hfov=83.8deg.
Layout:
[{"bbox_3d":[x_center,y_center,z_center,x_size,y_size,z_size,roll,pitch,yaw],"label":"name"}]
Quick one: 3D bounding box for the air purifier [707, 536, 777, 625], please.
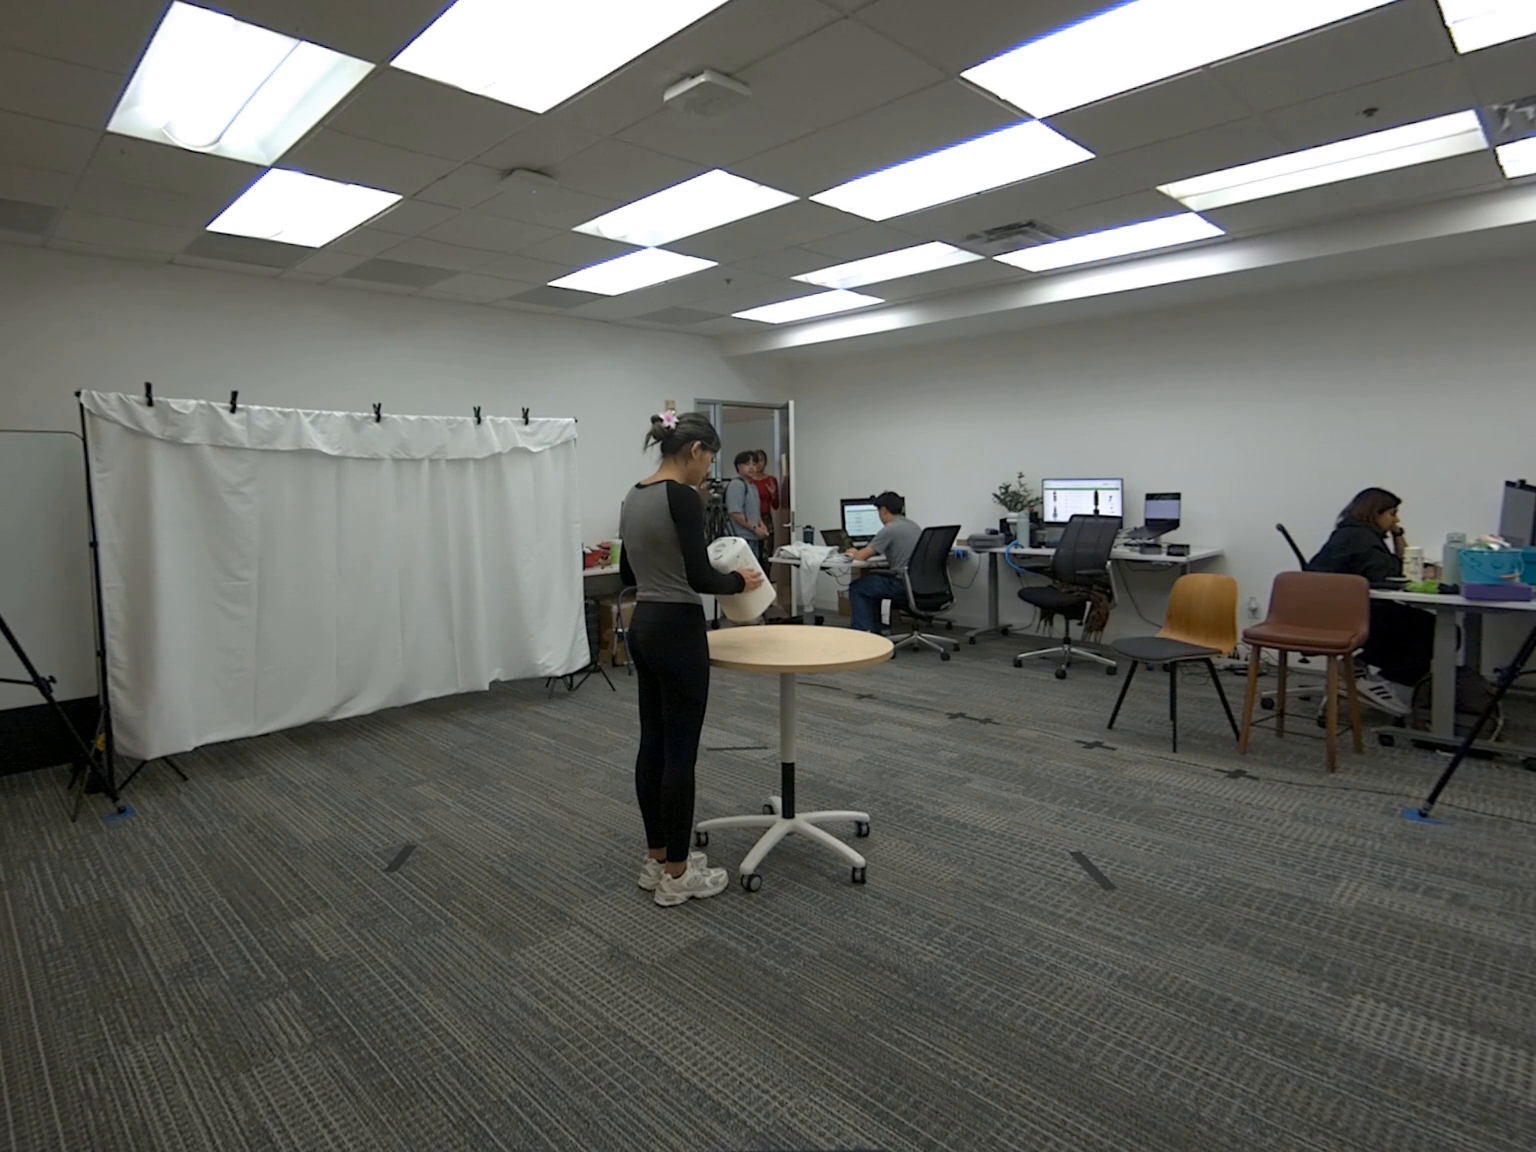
[{"bbox_3d":[-0.115,0.007,3.047,0.177,0.258,0.171,4,40,49],"label":"air purifier"}]
